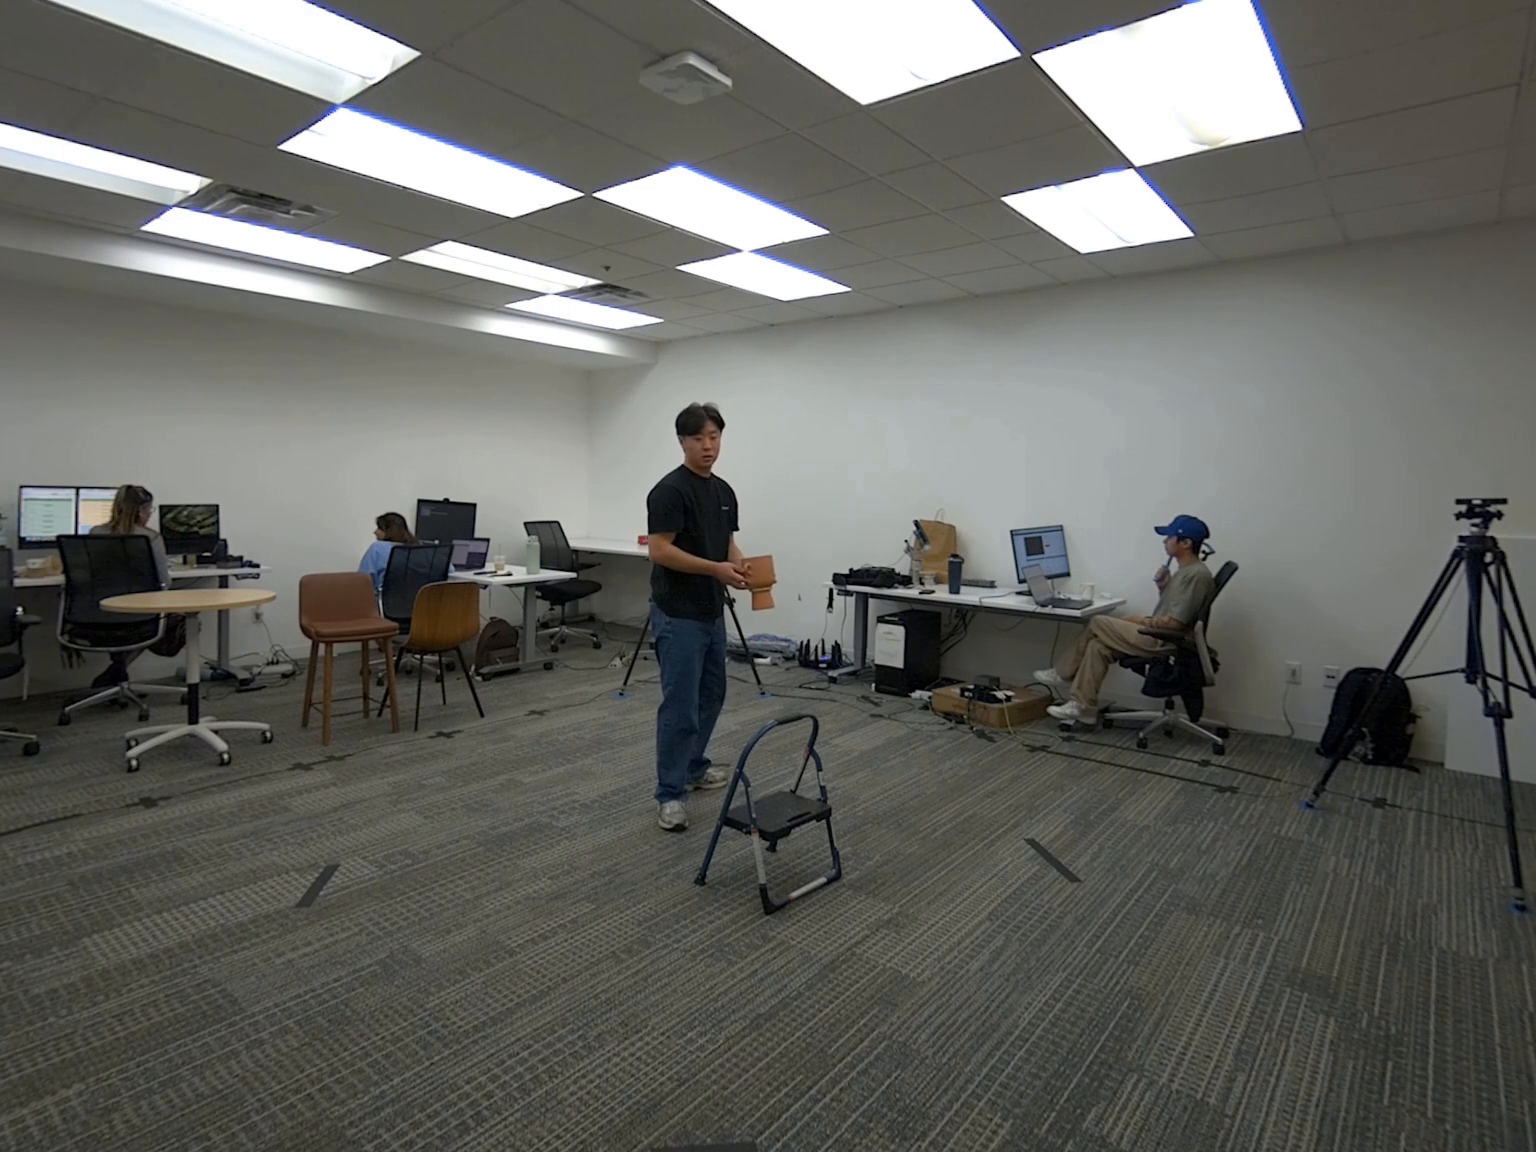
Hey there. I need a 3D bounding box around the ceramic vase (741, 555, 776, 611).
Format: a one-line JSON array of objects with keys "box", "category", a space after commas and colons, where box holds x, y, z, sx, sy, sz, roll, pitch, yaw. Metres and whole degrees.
[{"box": [-0.051, 0.029, 3.566, 0.157, 0.220, 0.136, -7, -2, -14], "category": "ceramic vase"}]
